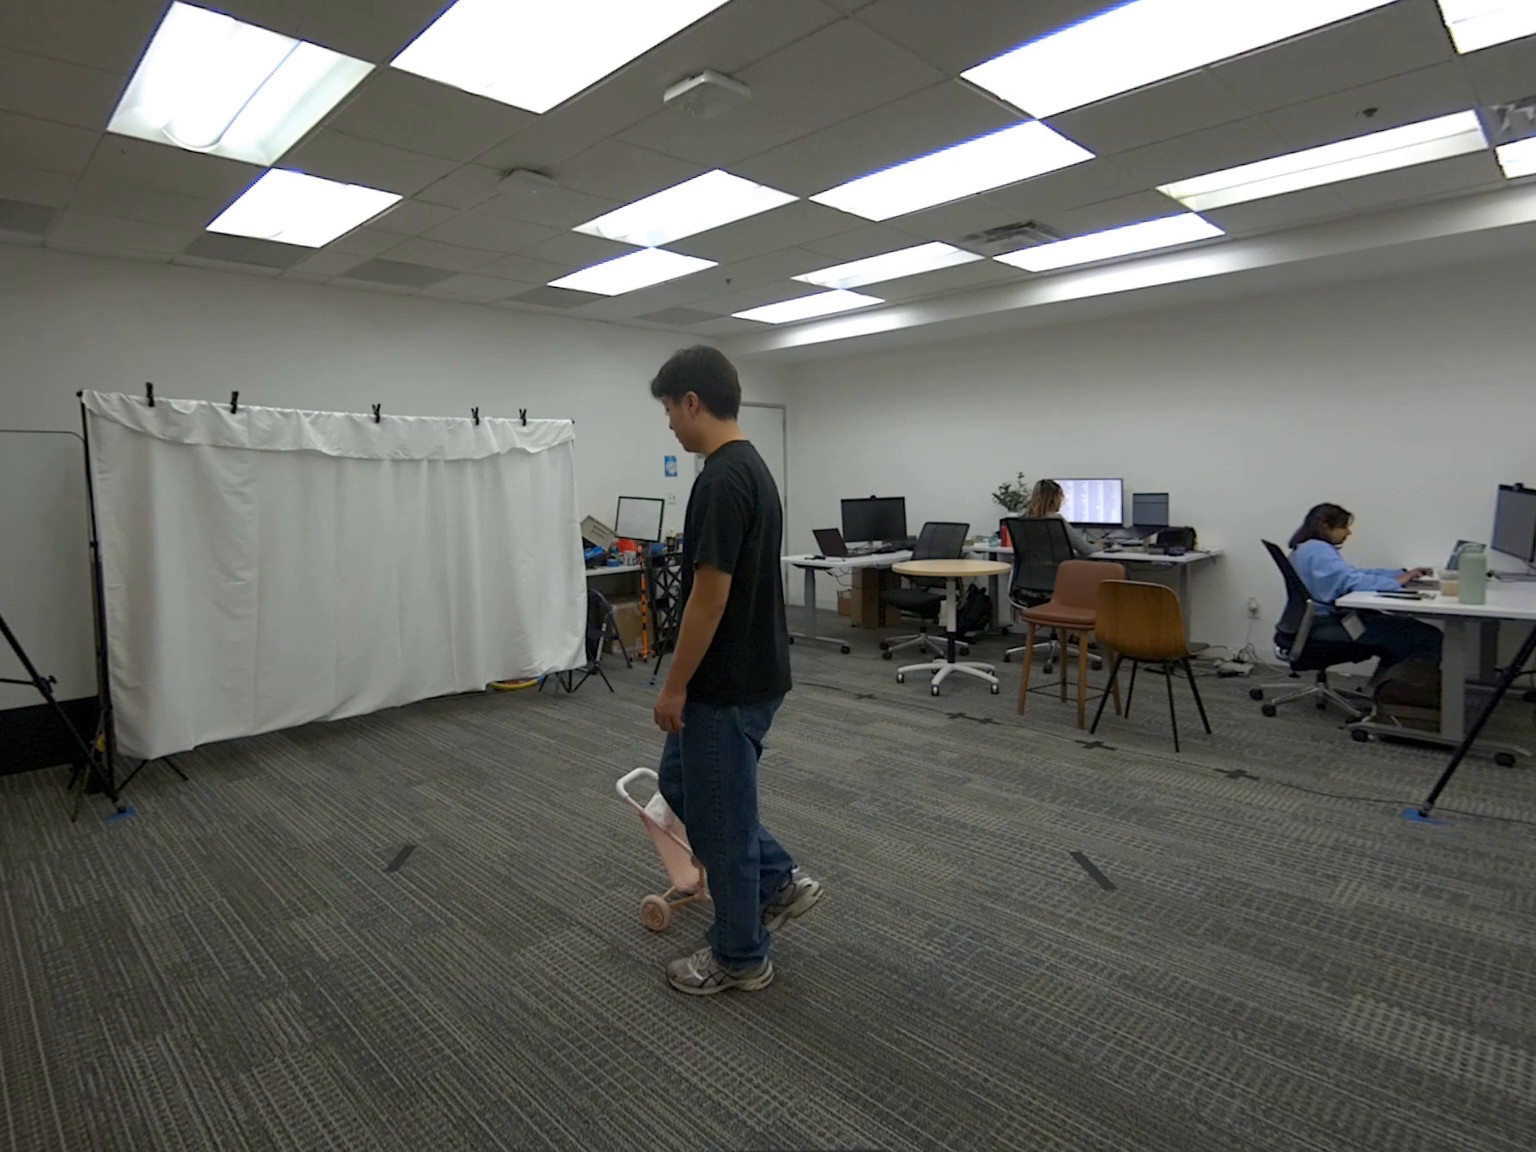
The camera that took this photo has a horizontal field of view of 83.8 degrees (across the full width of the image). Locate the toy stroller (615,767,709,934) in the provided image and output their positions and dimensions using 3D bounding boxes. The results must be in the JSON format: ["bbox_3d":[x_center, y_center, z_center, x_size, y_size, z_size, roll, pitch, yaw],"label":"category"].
[{"bbox_3d":[-0.245,0.867,2.723,0.347,0.537,0.276,-17,-3,29],"label":"toy stroller"}]
